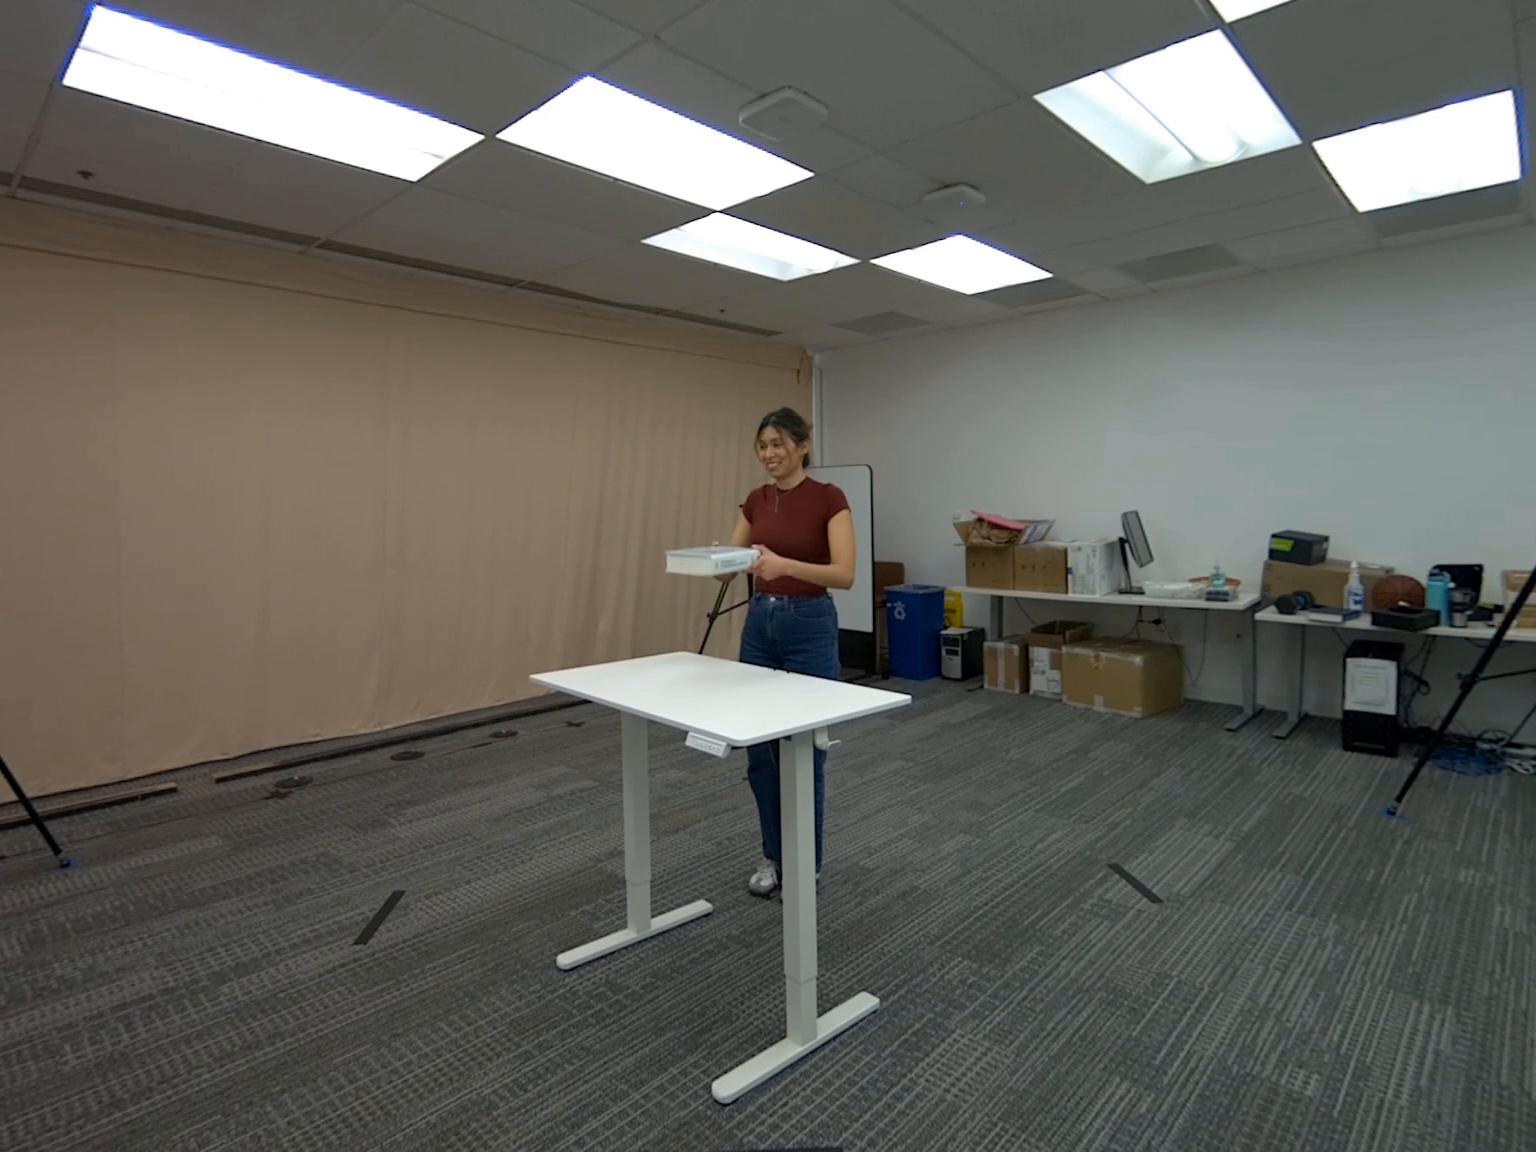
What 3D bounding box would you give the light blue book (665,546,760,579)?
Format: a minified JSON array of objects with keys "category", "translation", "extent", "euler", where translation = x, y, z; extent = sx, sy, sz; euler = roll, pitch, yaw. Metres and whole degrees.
[{"category":"light blue book","translation":[-0.164,-0.055,2.648],"extent":[0.197,0.059,0.254],"euler":[5,9,35]}]
